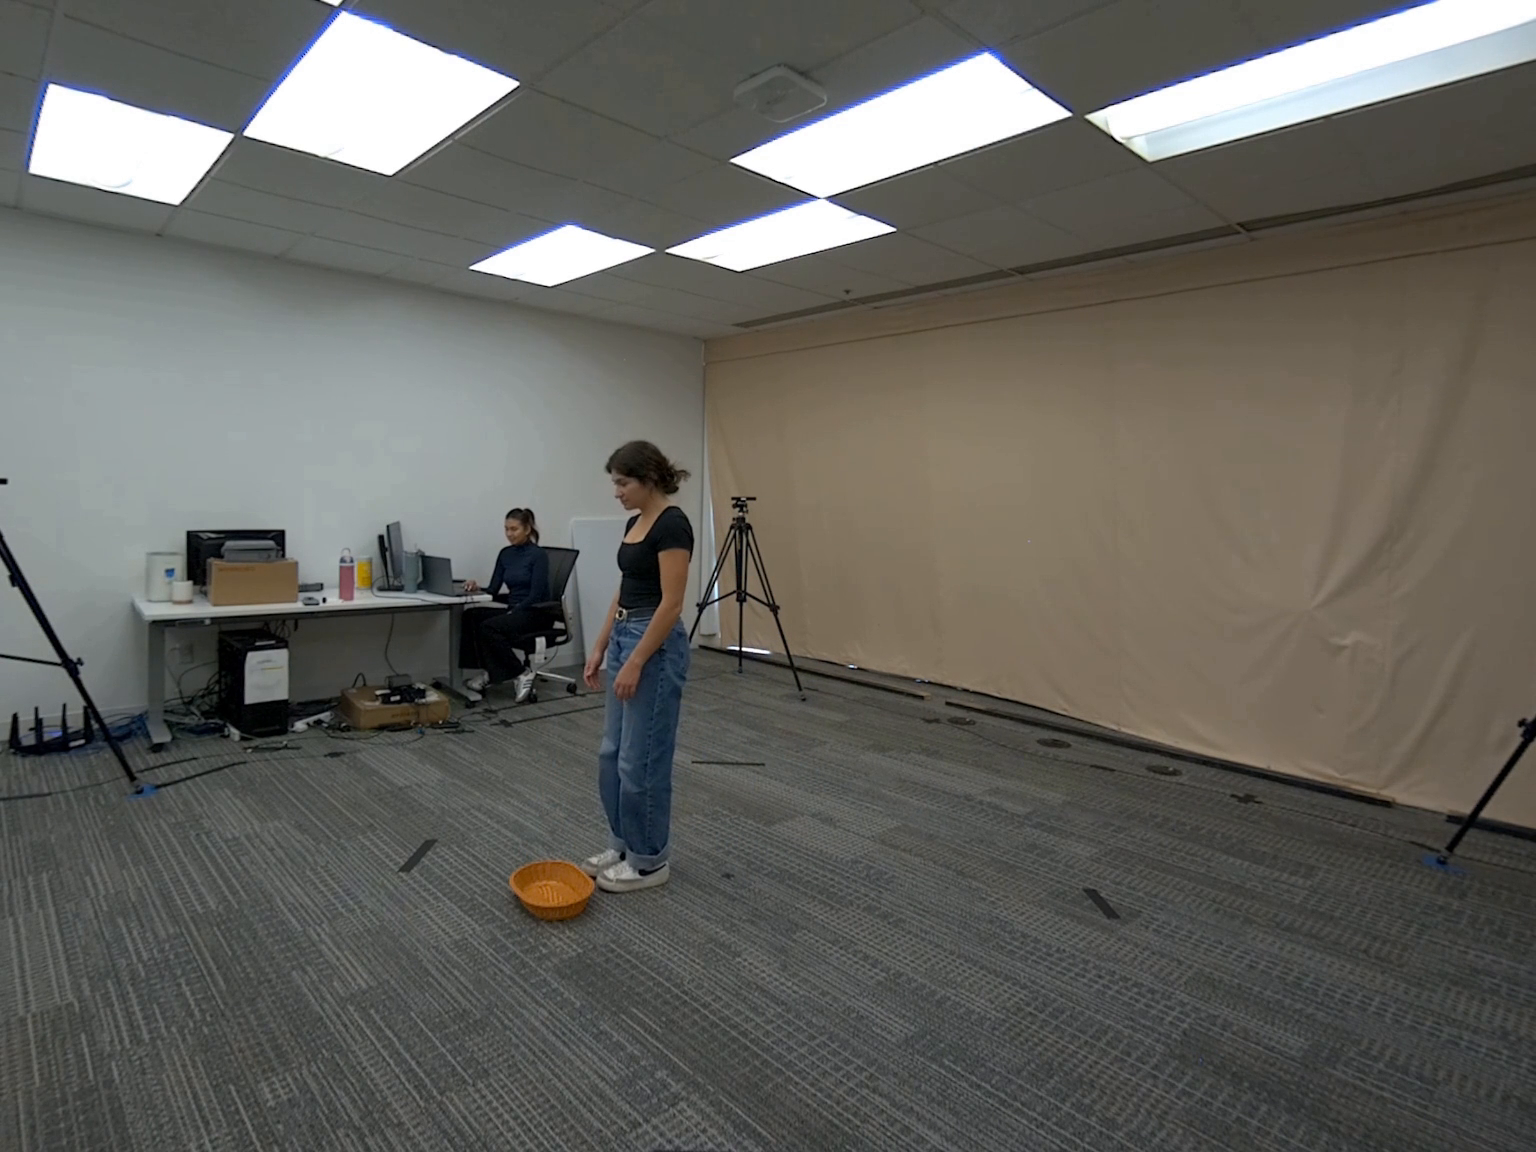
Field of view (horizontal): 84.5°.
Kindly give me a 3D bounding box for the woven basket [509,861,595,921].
[{"bbox_3d":[-0.745,1.076,2.871,0.247,0.073,0.359,-4,8,-34],"label":"woven basket"}]
